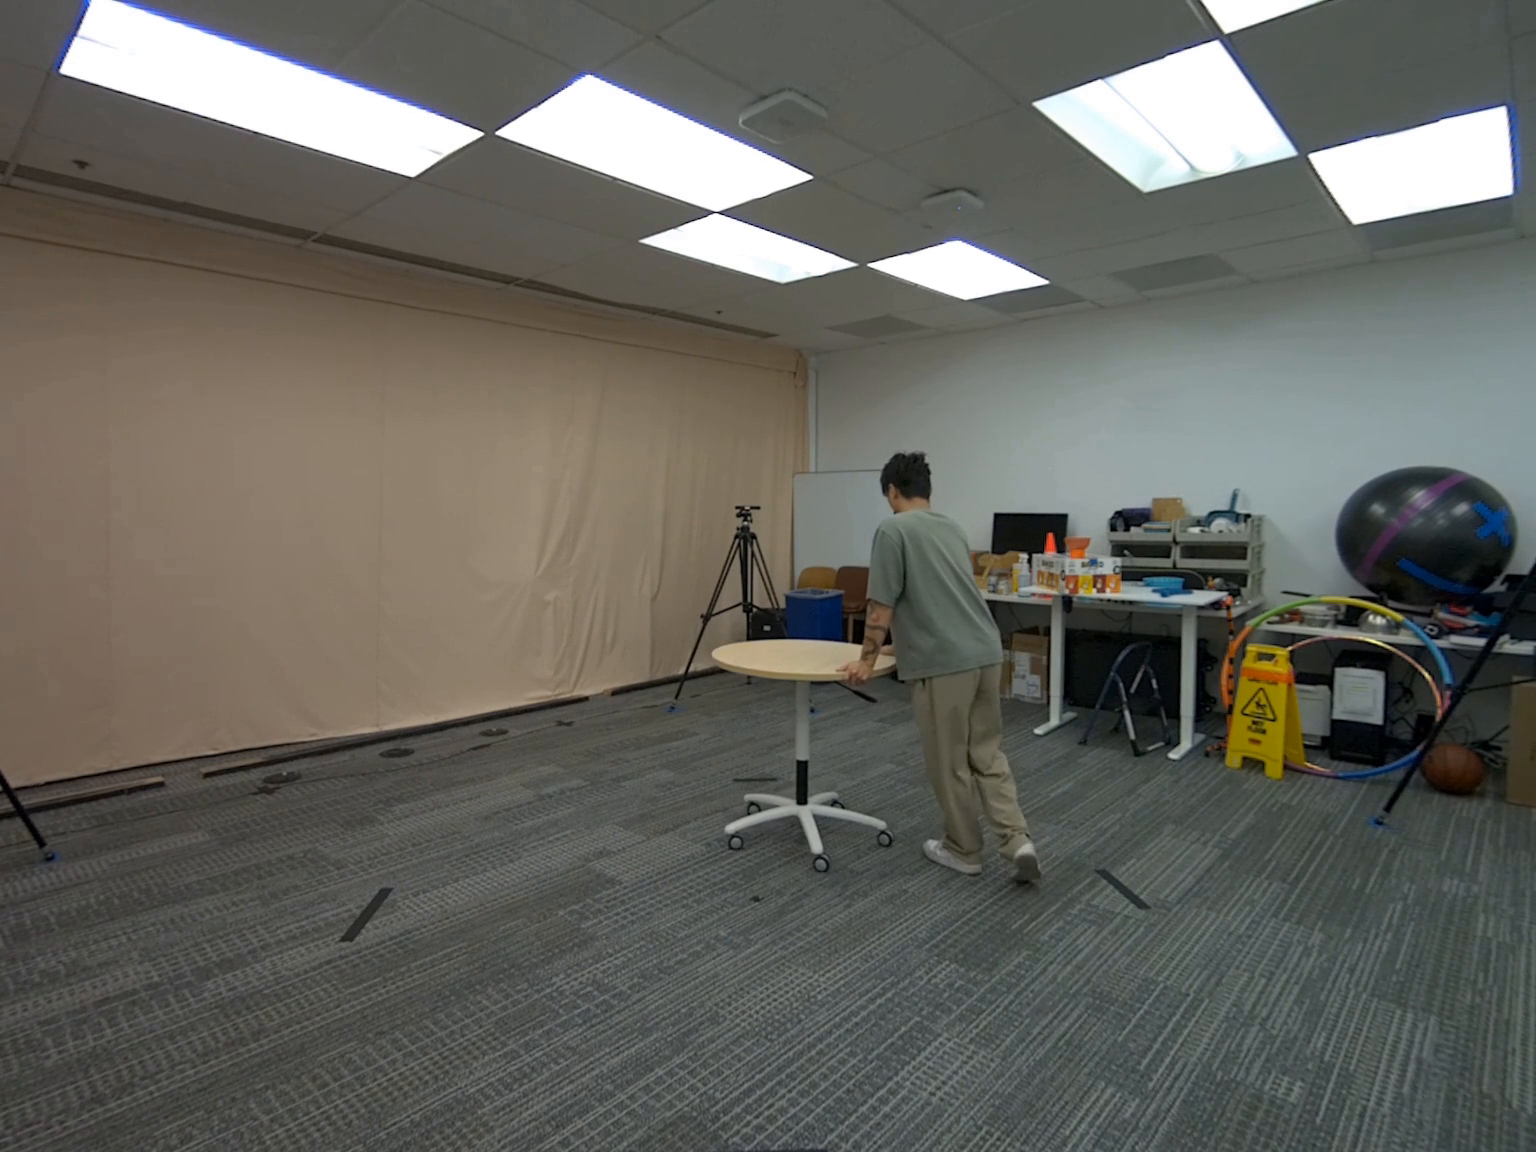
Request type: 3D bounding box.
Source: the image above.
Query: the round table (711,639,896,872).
[{"bbox_3d":[0.144,0.709,3.544,0.784,0.785,0.788,1,4,-2],"label":"round table"}]
